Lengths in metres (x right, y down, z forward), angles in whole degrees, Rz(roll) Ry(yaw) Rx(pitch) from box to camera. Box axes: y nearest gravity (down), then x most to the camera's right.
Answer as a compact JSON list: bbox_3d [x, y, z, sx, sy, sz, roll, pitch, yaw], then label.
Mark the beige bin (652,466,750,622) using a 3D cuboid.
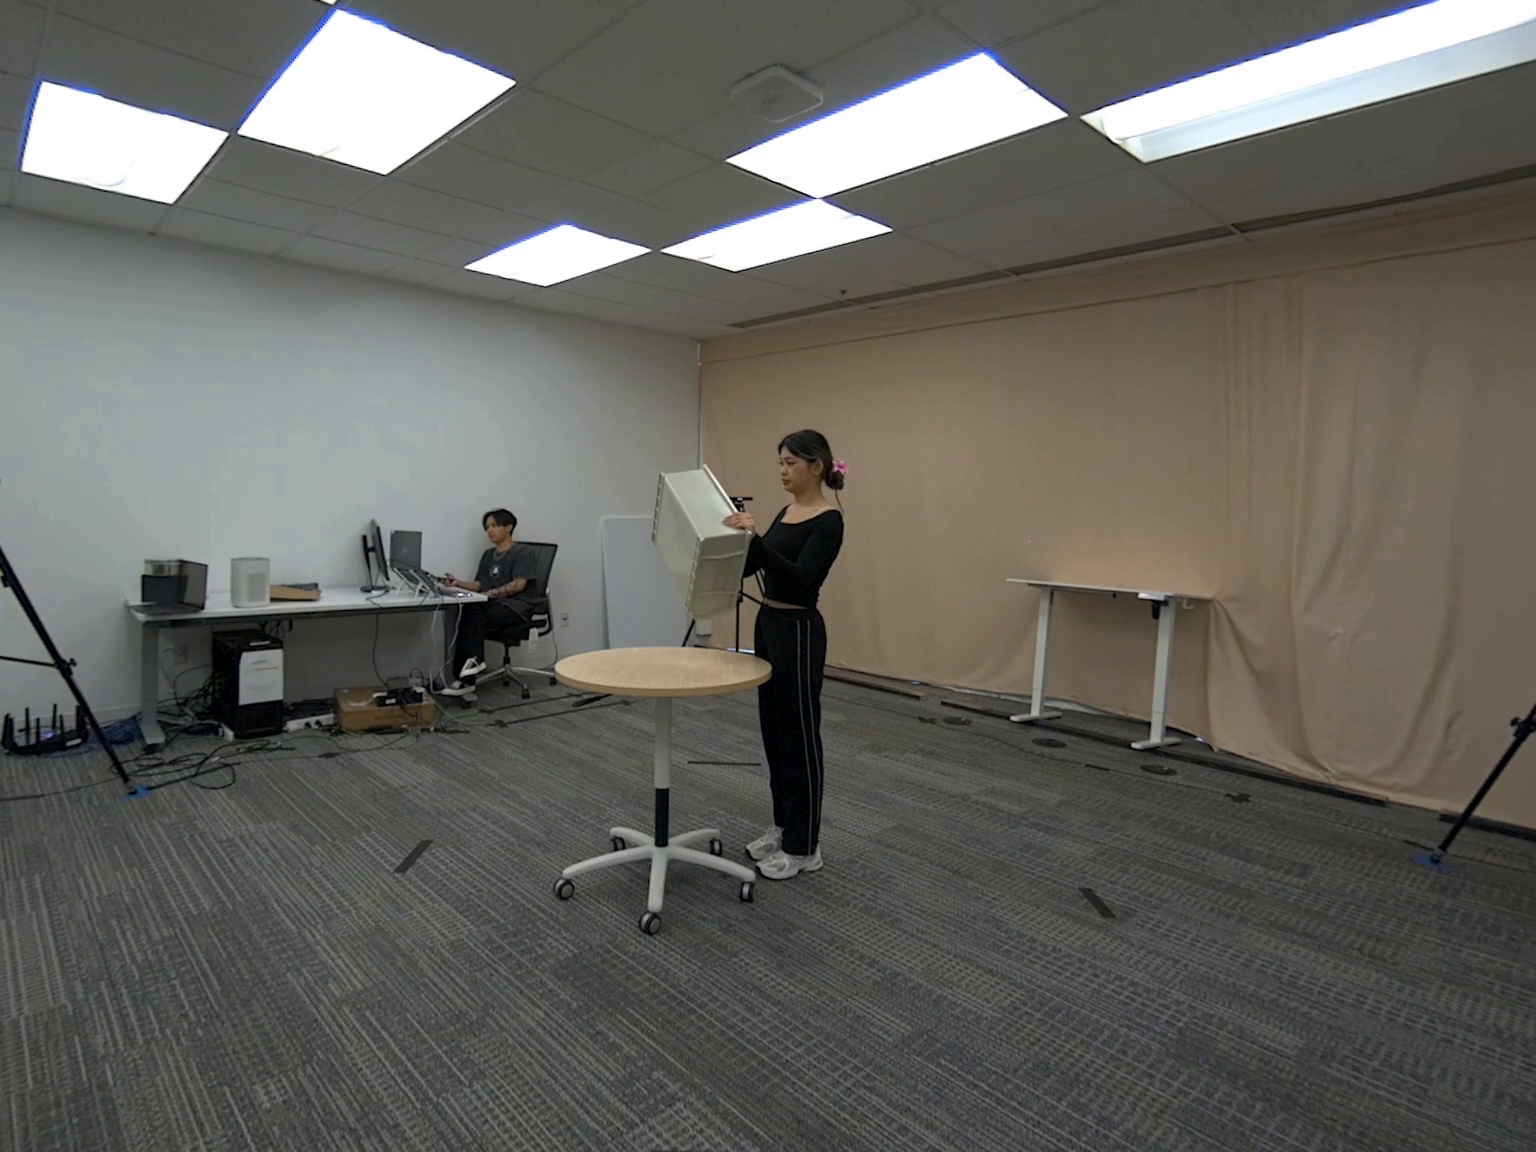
[{"bbox_3d":[-0.253,-0.117,3.004,0.186,0.371,0.435,-7,42,-24],"label":"beige bin"}]
